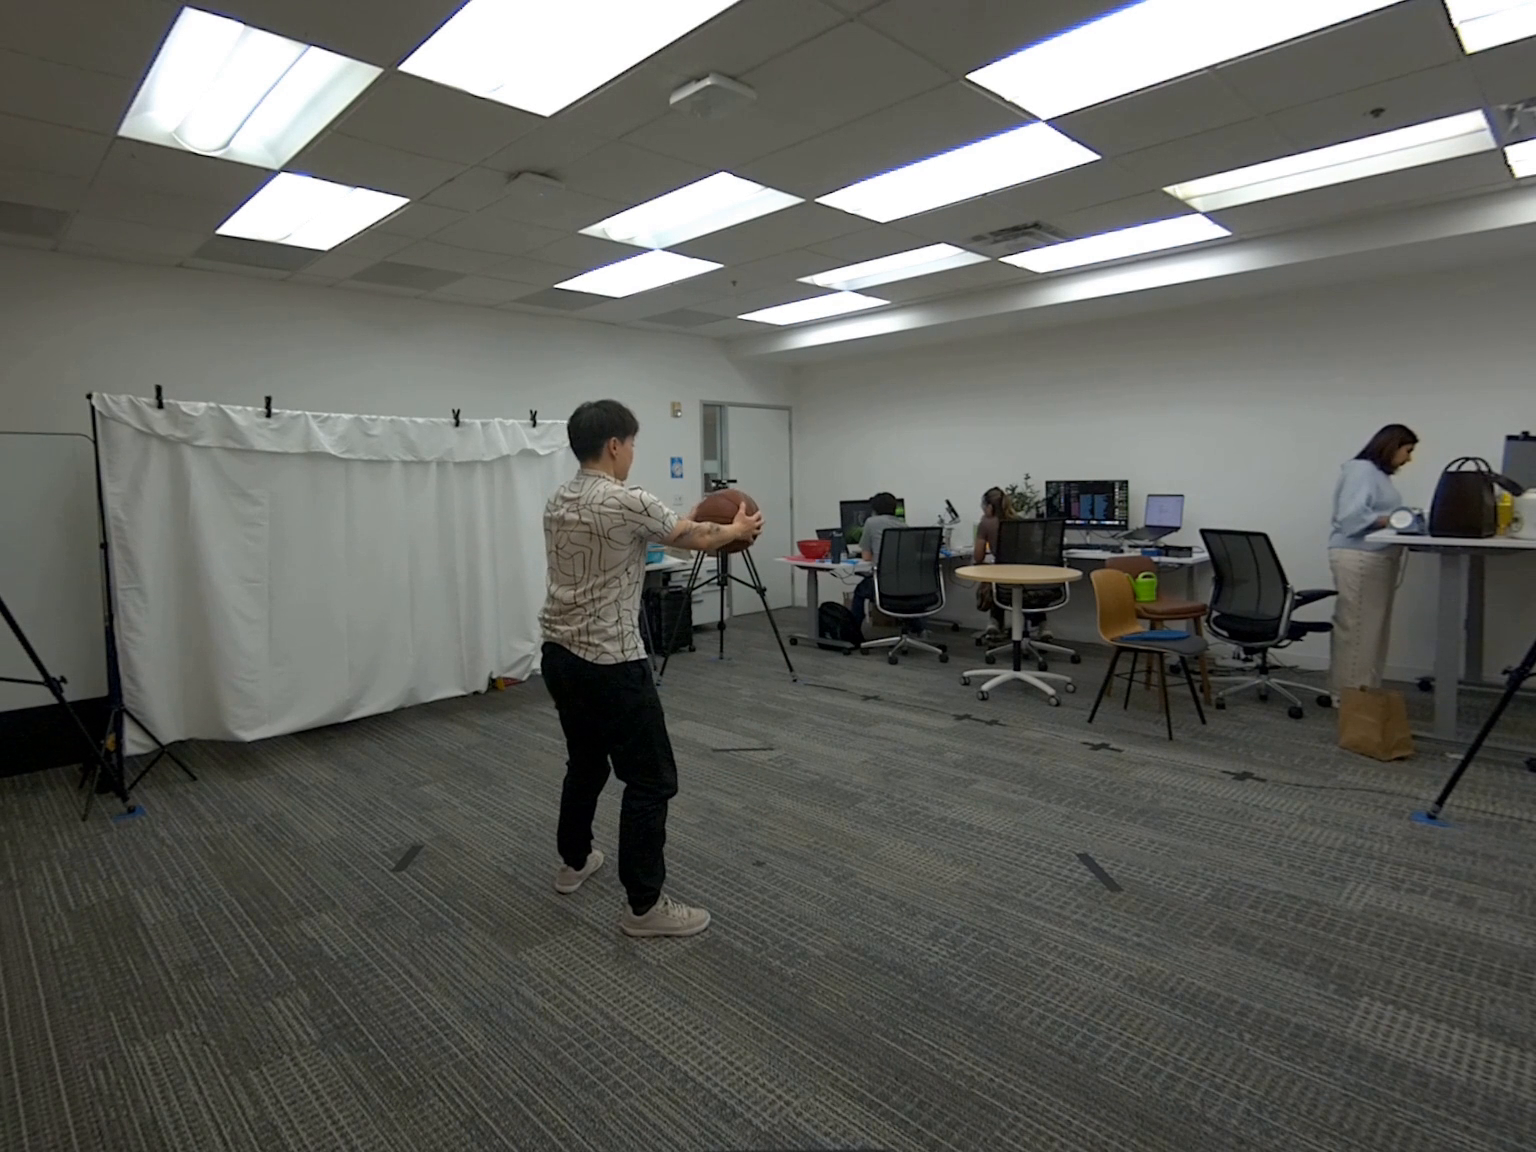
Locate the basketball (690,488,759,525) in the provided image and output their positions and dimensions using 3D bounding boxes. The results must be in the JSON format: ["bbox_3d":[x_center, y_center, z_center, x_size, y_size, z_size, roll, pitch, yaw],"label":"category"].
[{"bbox_3d":[-0.138,-0.200,3.149,0.236,0.235,0.237,-1,5,-2],"label":"basketball"}]
